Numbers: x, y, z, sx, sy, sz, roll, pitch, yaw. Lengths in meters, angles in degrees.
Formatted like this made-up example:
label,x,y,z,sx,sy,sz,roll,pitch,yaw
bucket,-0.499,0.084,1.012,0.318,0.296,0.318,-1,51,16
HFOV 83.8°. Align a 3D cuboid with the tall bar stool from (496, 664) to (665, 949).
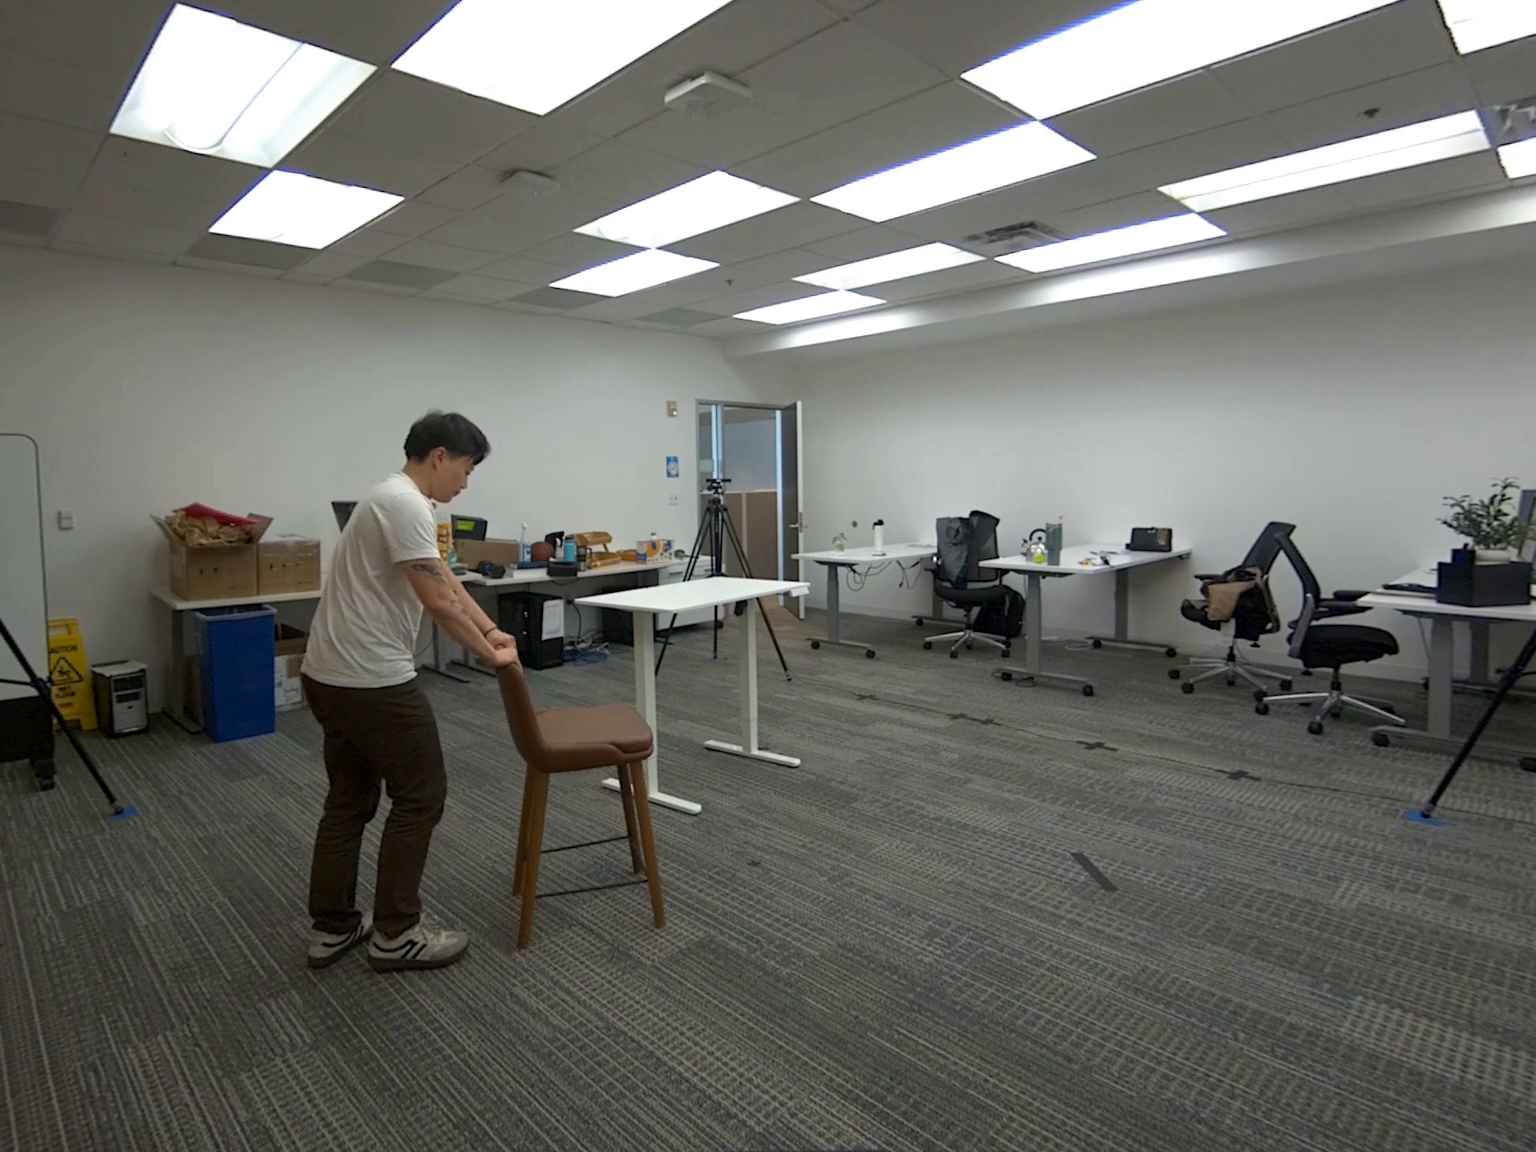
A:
label,x,y,z,sx,sy,sz,roll,pitch,yaw
tall bar stool,-0.620,0.658,2.780,0.460,0.886,0.466,-4,5,-19
